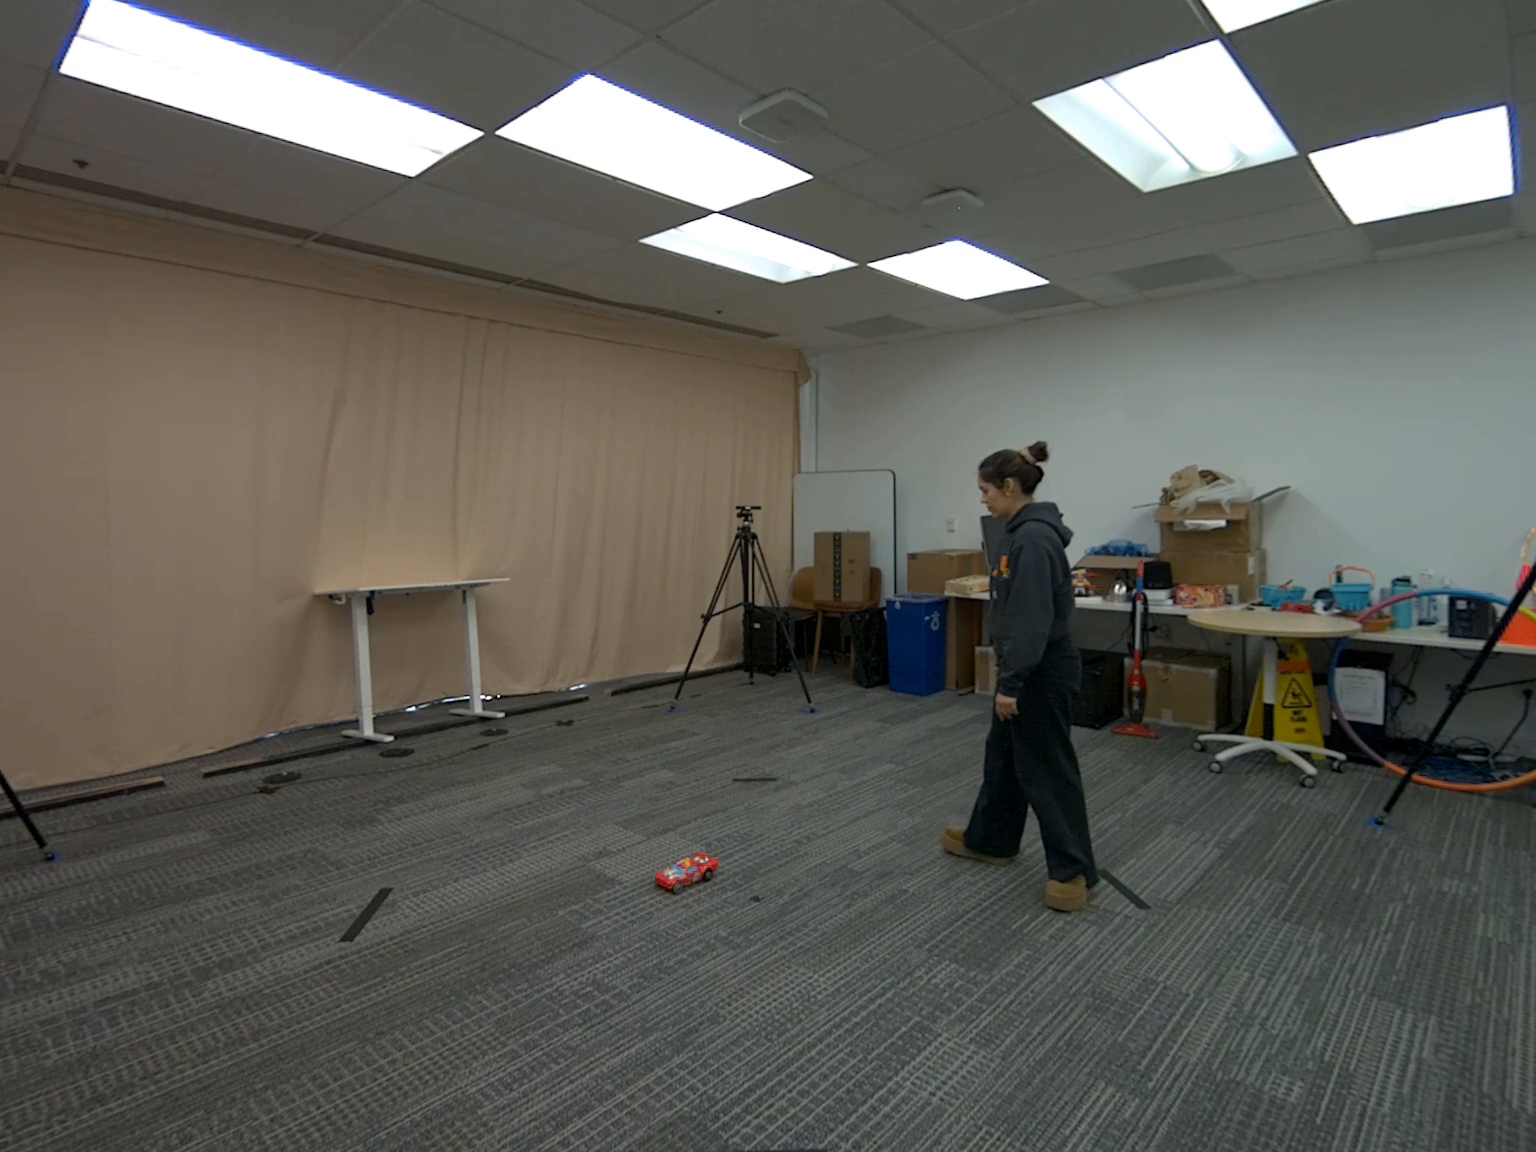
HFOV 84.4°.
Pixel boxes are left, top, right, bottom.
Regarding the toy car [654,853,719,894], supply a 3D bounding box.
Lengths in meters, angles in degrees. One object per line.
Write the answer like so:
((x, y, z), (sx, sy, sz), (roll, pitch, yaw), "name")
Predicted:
((-0.278, 1.106, 3.136), (0.248, 0.082, 0.134), (-20, 15, -40), "toy car")
